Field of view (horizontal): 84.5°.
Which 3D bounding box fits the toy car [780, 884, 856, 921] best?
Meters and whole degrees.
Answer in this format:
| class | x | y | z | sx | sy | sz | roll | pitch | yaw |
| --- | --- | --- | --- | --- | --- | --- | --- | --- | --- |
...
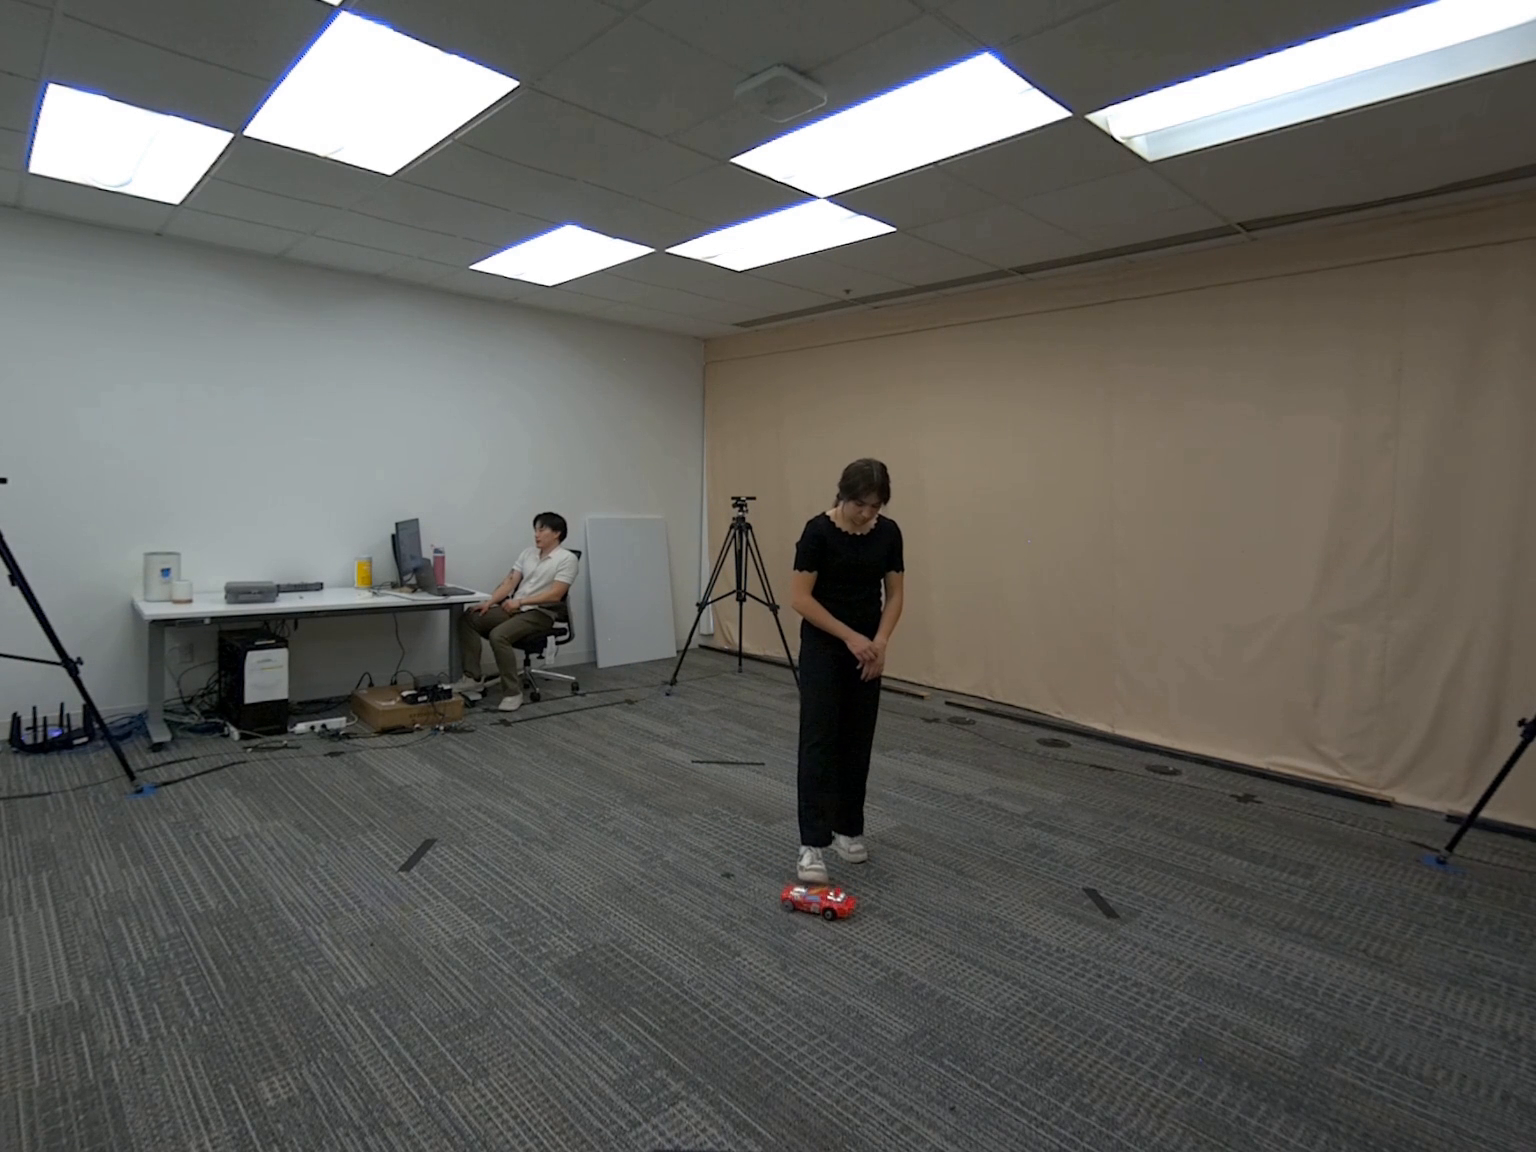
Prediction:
| class | x | y | z | sx | sy | sz | roll | pitch | yaw |
| --- | --- | --- | --- | --- | --- | --- | --- | --- | --- |
| toy car | 0.167 | 1.106 | 2.858 | 0.258 | 0.083 | 0.128 | -7 | 0 | 23 |
